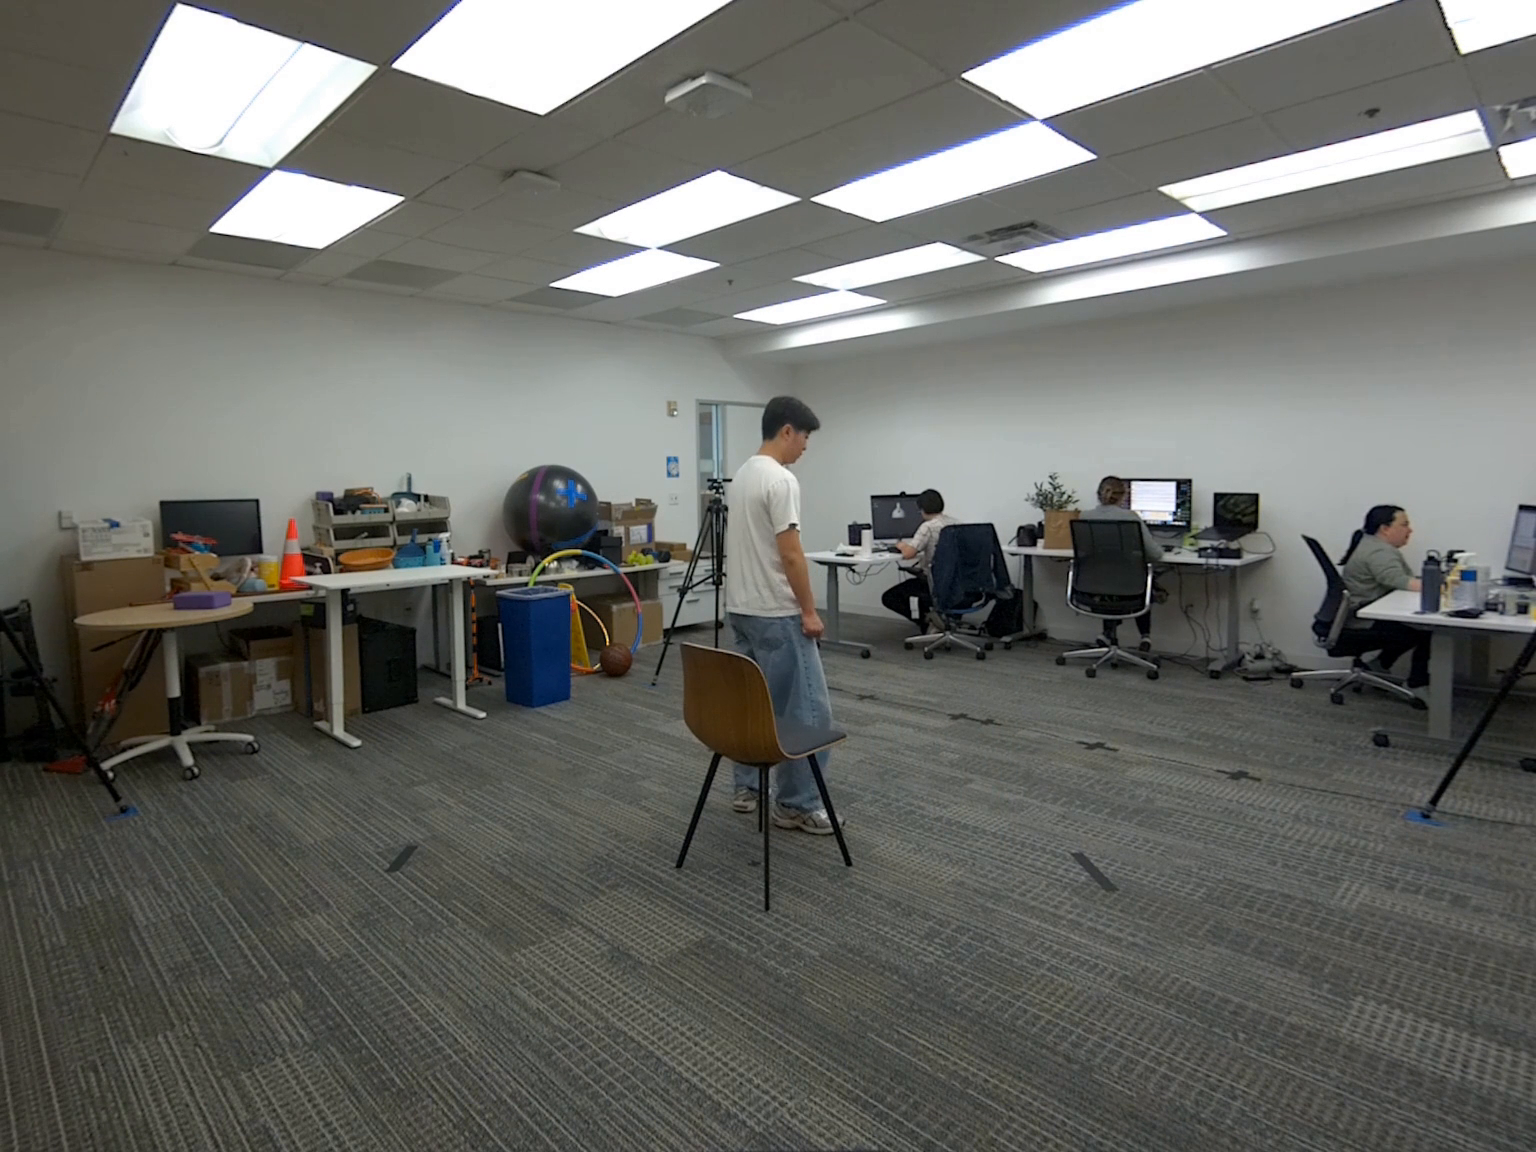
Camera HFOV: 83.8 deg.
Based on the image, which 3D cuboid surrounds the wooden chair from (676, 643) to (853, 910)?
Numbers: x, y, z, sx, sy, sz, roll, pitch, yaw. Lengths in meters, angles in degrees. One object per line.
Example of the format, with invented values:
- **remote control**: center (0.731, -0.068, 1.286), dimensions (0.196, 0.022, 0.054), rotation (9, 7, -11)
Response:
- **wooden chair**: center (-0.016, 0.626, 3.046), dimensions (0.511, 0.871, 0.493), rotation (-11, 10, -44)
